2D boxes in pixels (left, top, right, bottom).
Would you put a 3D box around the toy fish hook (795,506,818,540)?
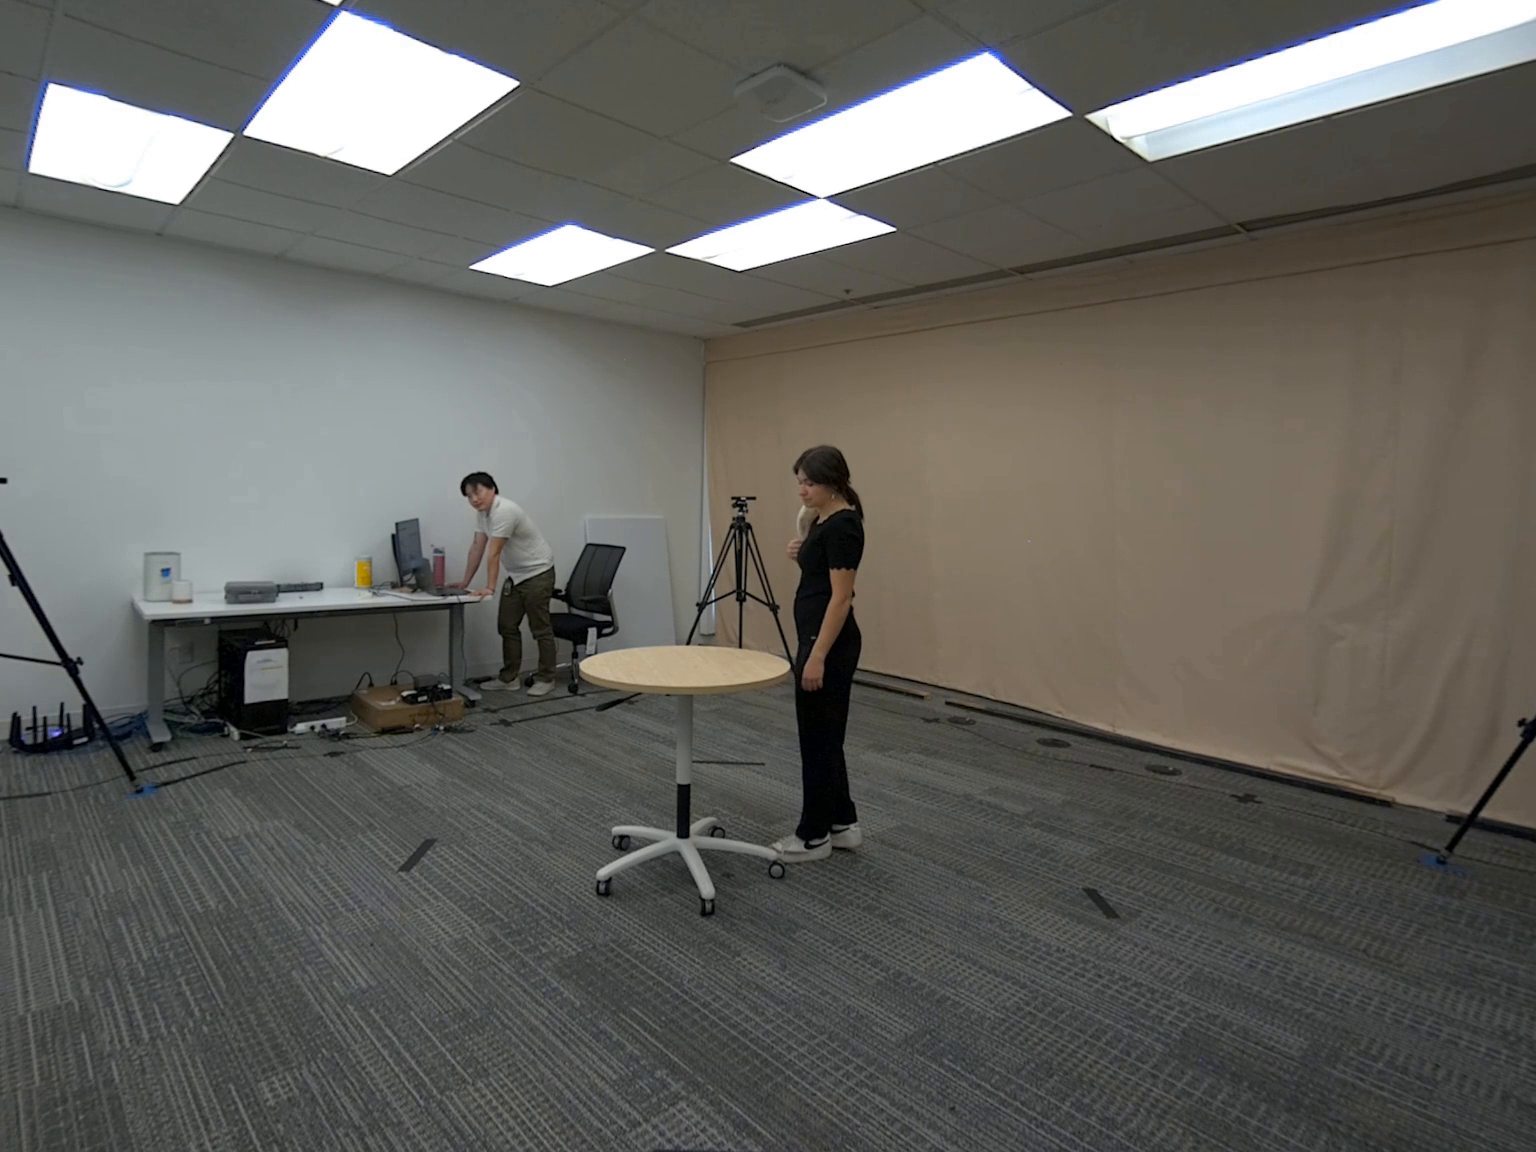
[{"bbox_3d":[0.252,-0.065,3.448,0.224,0.503,0.048,-10,8,-1],"label":"toy fish hook"}]
